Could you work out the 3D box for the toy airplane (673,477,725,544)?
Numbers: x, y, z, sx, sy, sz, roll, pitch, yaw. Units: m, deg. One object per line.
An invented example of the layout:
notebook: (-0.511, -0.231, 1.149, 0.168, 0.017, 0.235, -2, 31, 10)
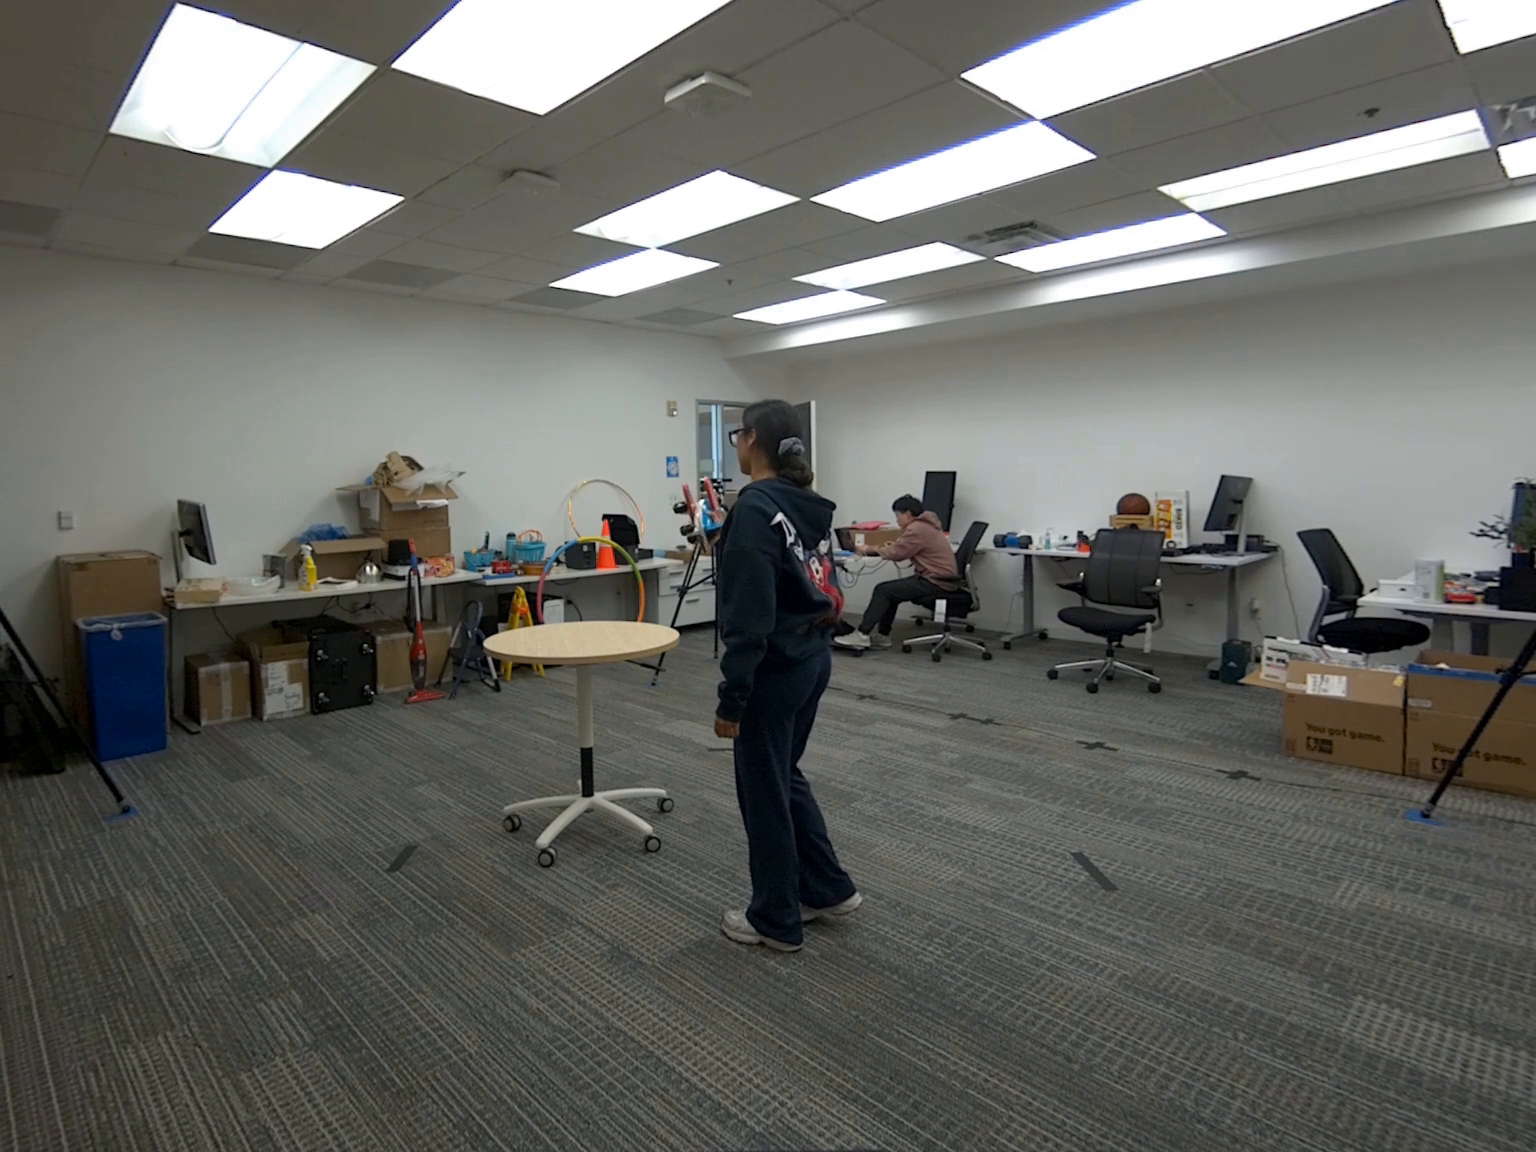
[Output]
toy airplane: (-0.218, -0.171, 2.900, 0.155, 0.243, 0.269, -20, 49, -9)
